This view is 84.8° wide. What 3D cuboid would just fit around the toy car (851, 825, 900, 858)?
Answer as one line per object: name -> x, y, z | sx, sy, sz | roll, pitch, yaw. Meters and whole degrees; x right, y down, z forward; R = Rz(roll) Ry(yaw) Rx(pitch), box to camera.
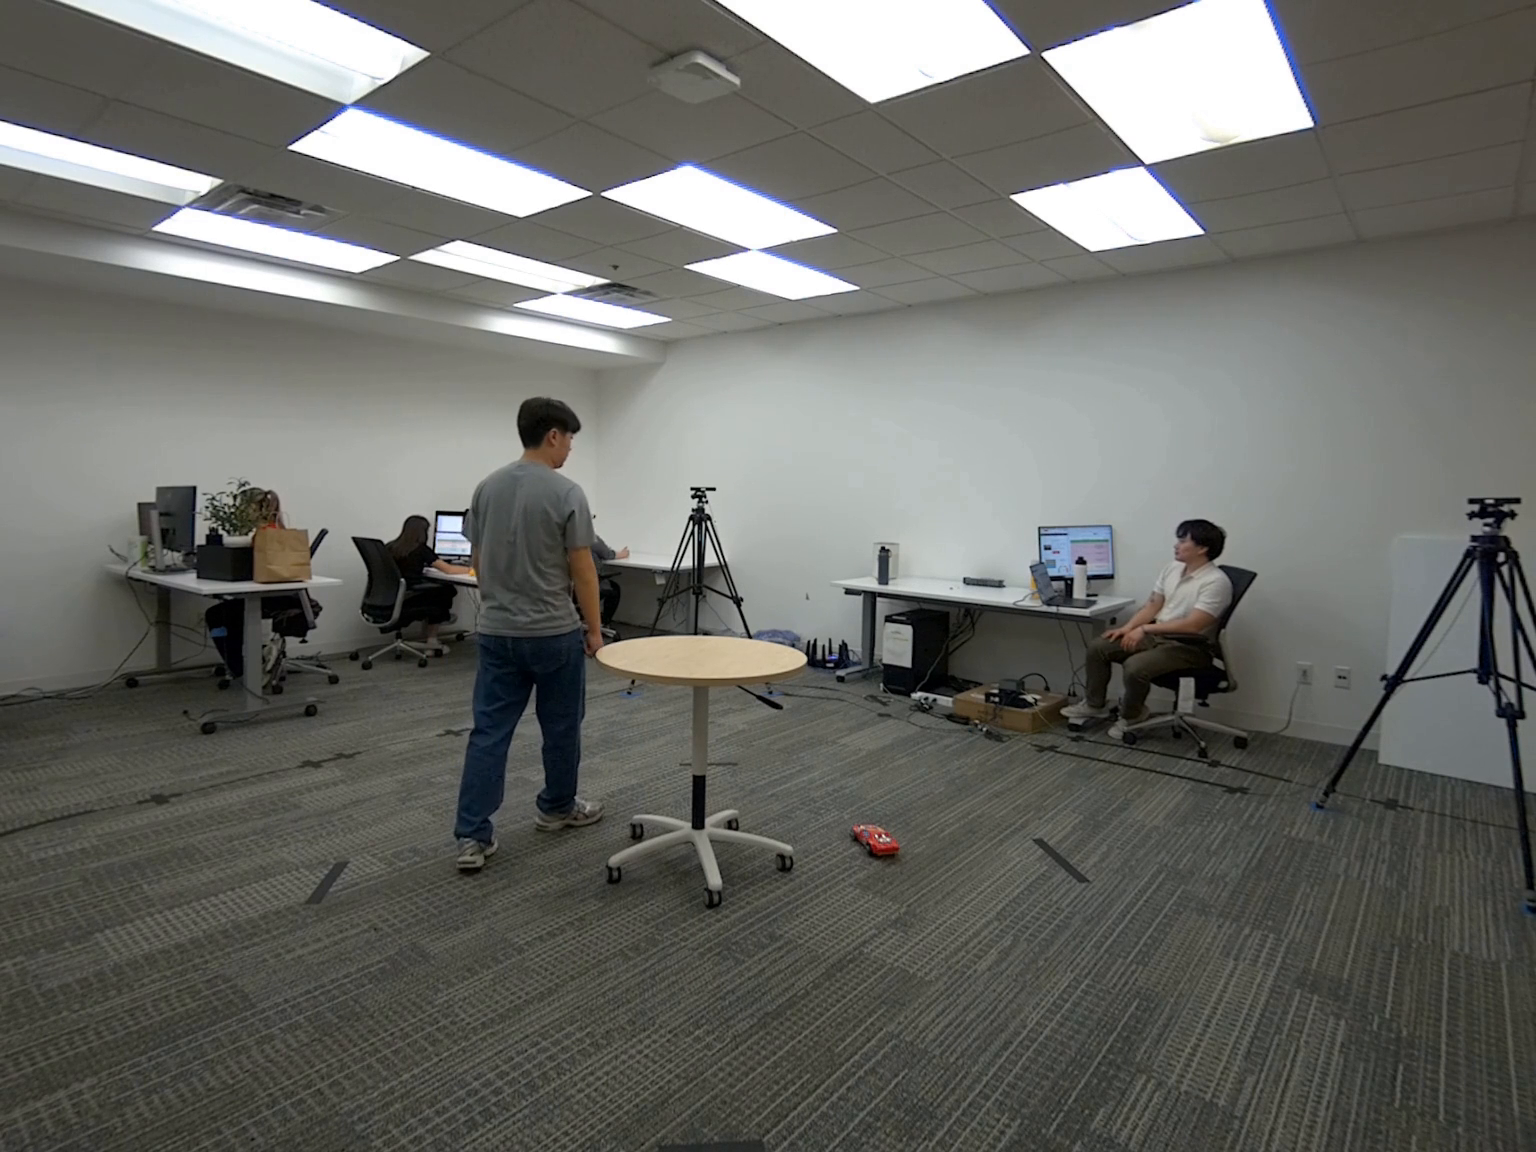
toy car -> 0.416, 1.029, 3.316 | 0.128, 0.084, 0.257 | 0, -5, -18
